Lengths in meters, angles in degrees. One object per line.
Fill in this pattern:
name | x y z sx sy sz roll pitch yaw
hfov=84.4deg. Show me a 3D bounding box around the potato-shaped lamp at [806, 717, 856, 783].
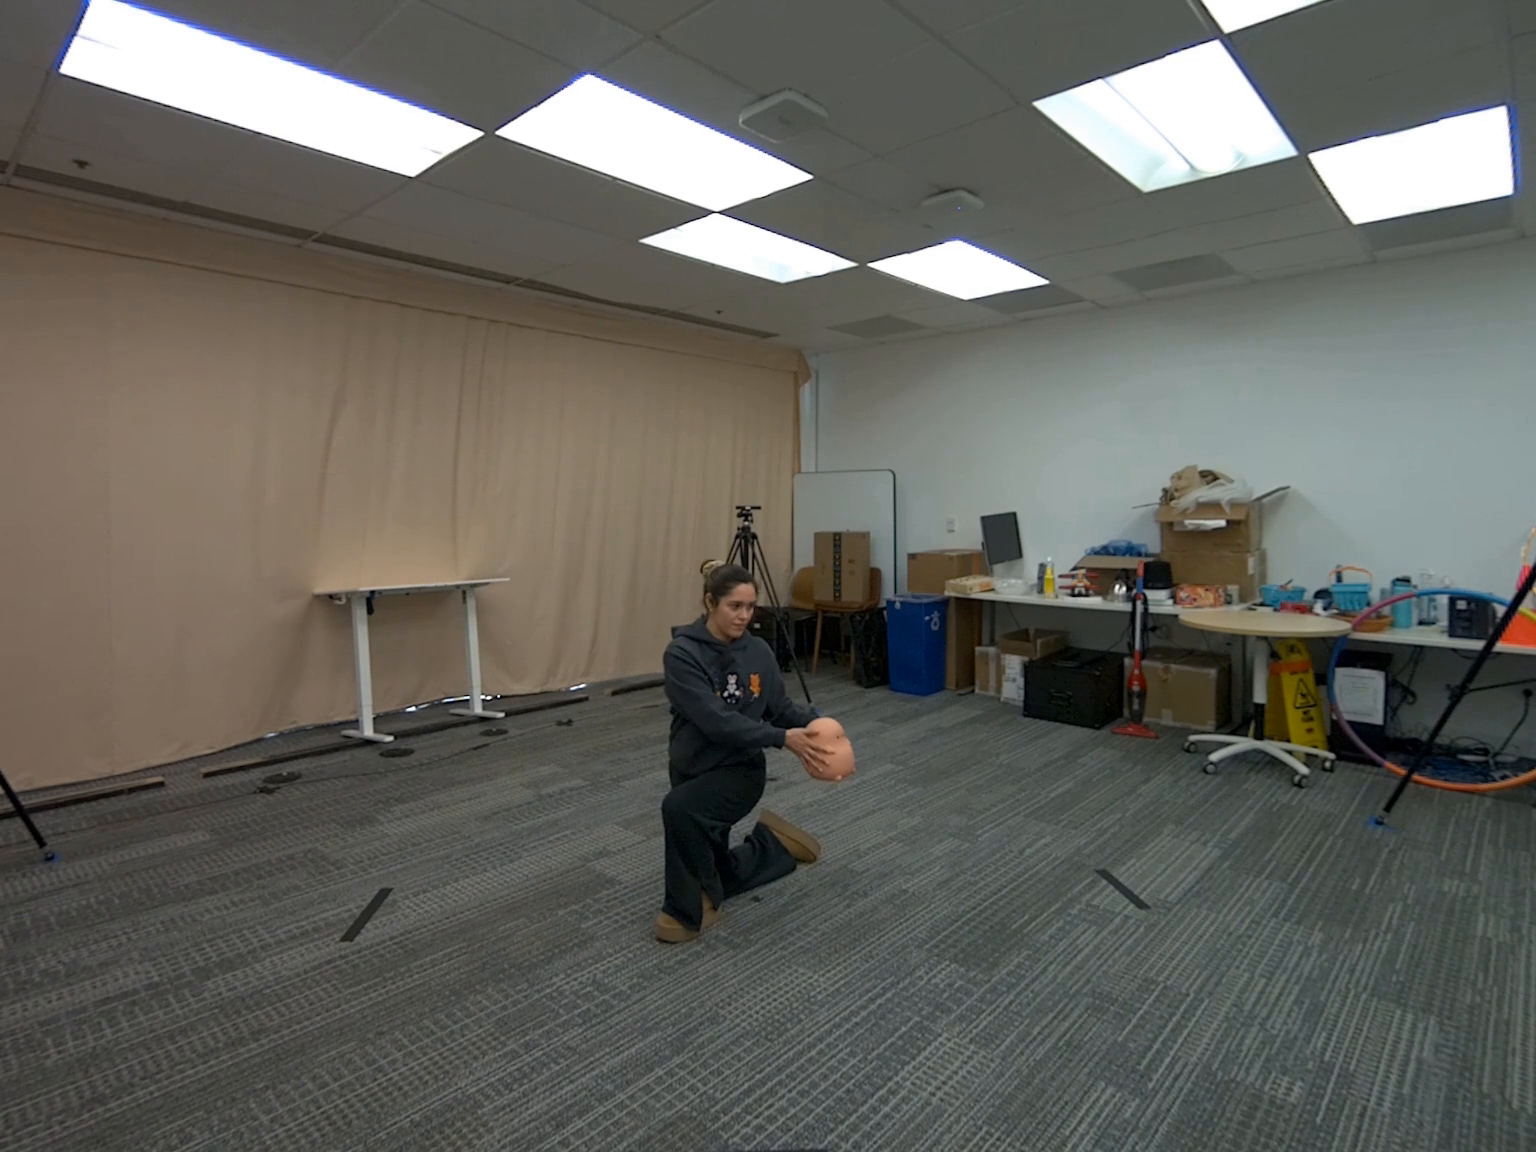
potato-shaped lamp | 0.199 0.569 2.790 0.176 0.198 0.160 -3 1 37
